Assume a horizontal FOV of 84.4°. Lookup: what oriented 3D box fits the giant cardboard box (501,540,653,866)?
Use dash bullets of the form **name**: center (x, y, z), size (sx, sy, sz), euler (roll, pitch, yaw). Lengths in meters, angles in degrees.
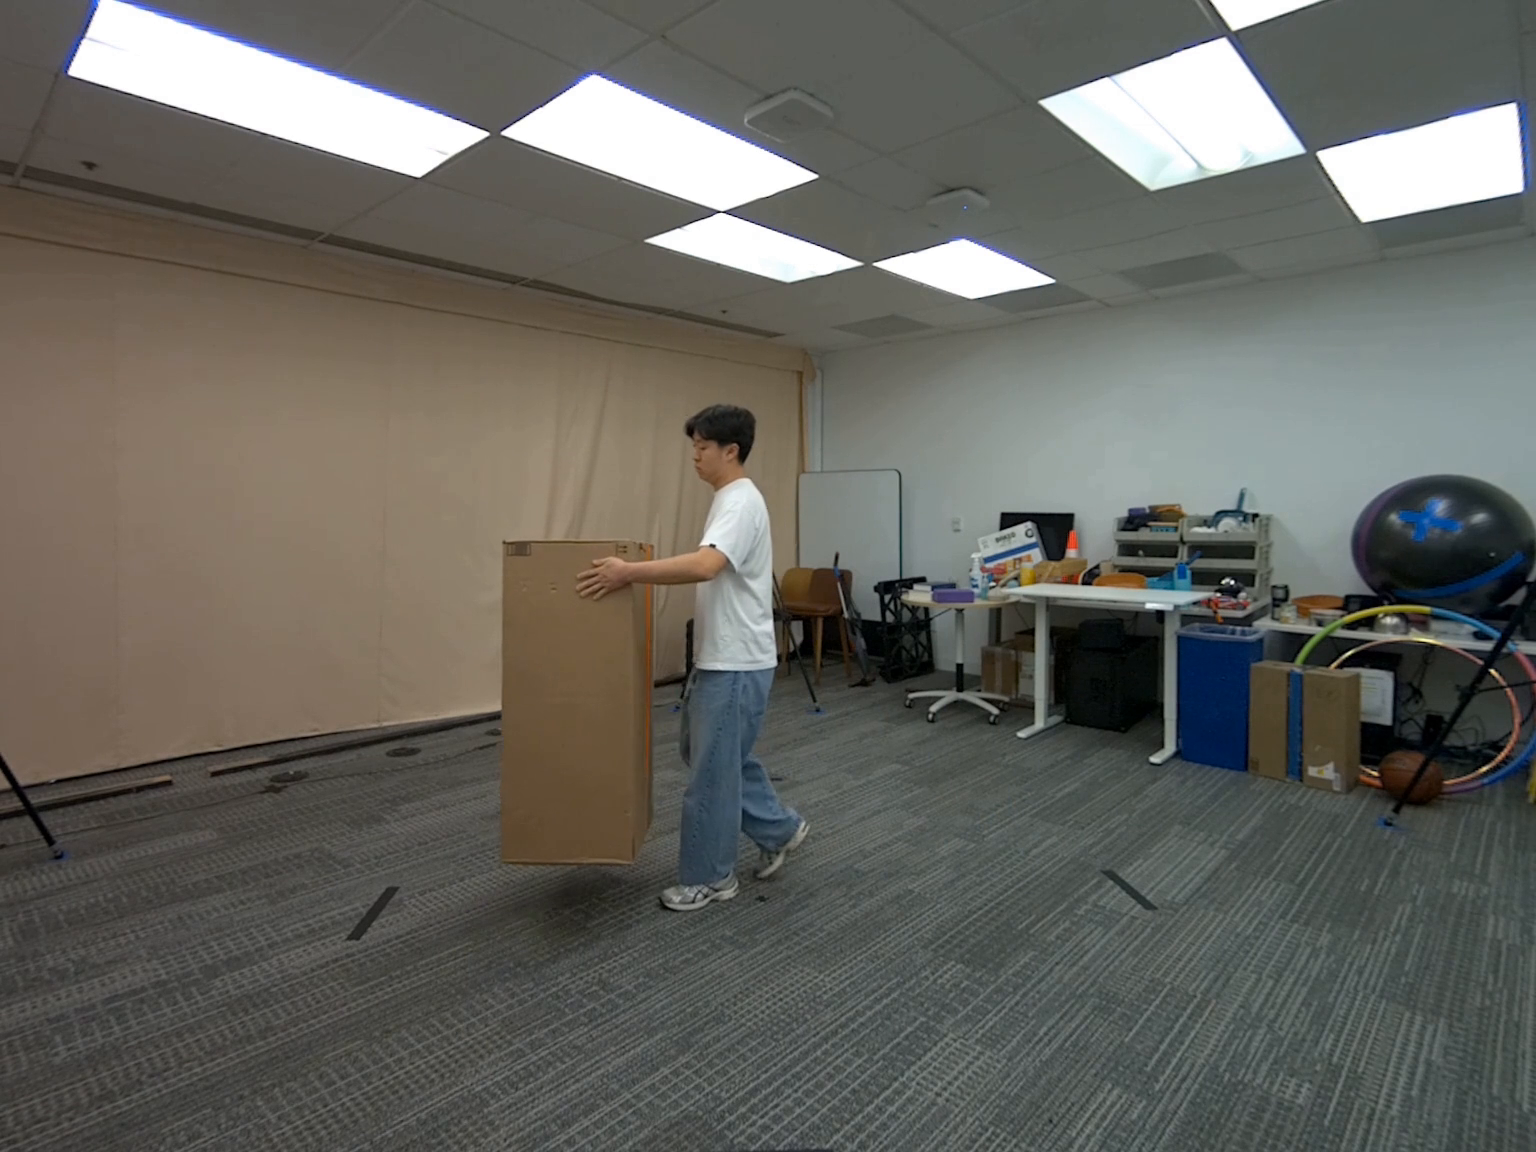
- **giant cardboard box**: center (-0.634, 0.403, 2.937), size (0.426, 1.027, 0.577), euler (0, -2, -1)
